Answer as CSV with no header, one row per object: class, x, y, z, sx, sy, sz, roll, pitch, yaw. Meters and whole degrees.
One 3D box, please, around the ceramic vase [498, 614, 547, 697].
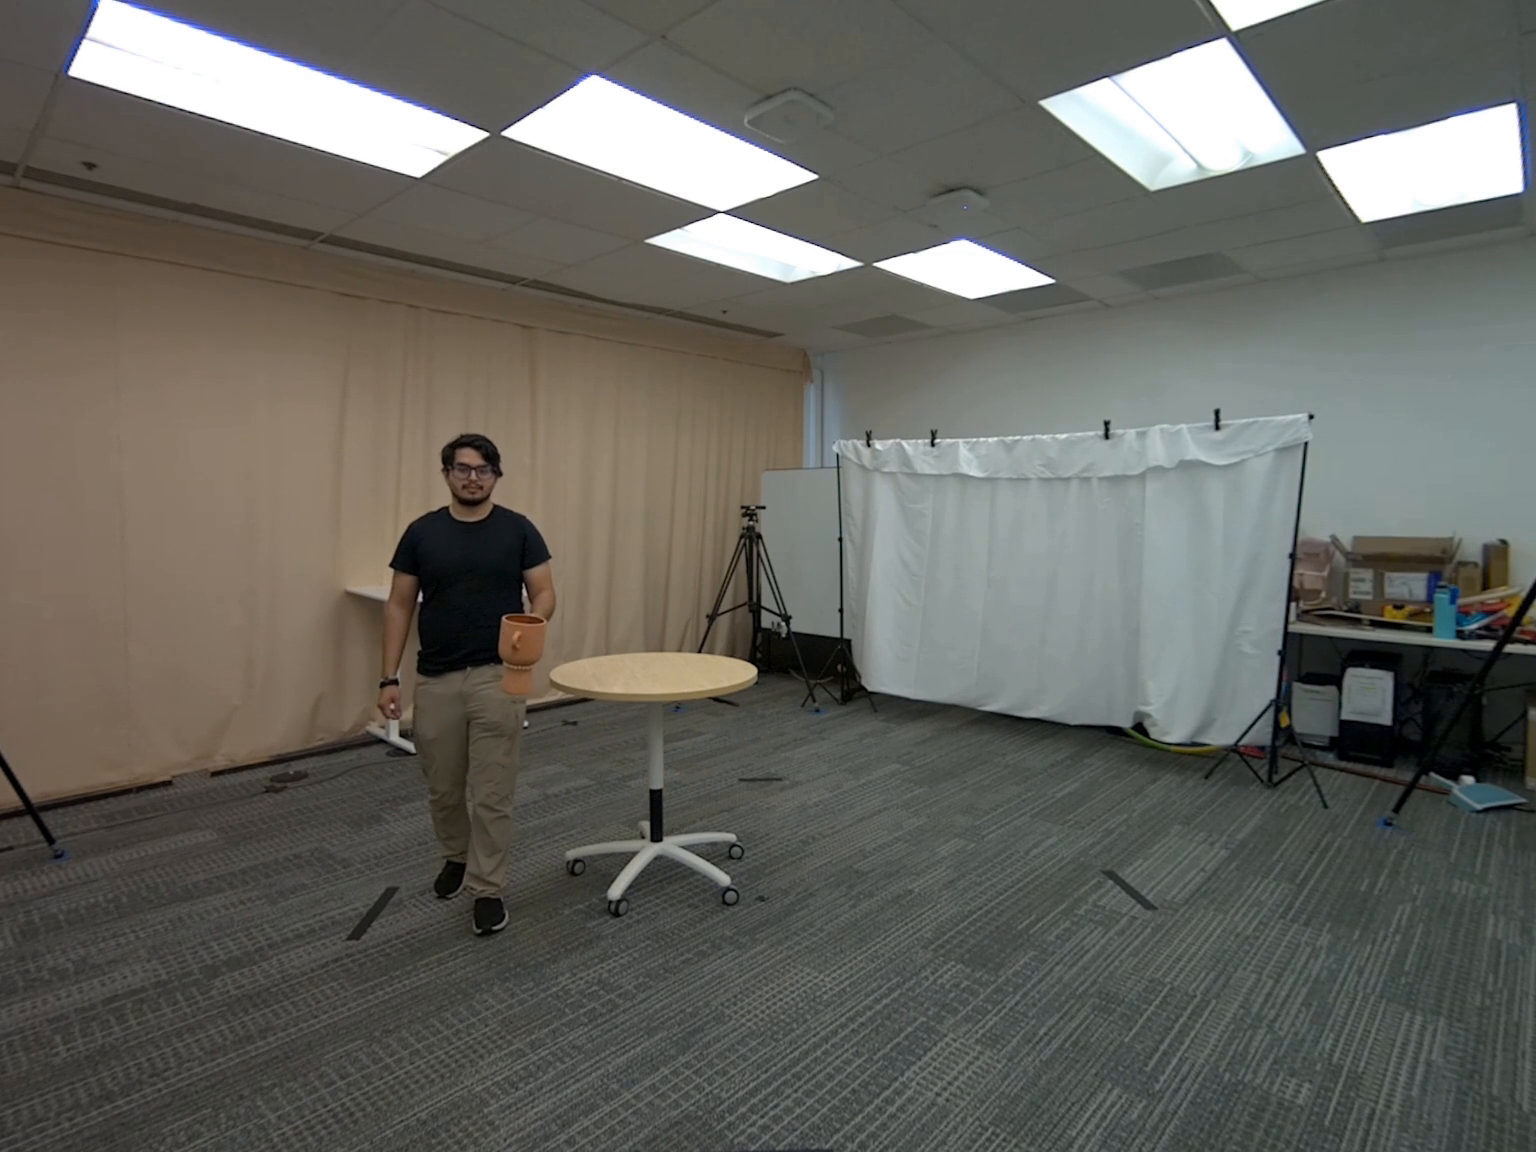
ceramic vase,-0.747,0.239,2.527,0.139,0.219,0.154,12,7,38
